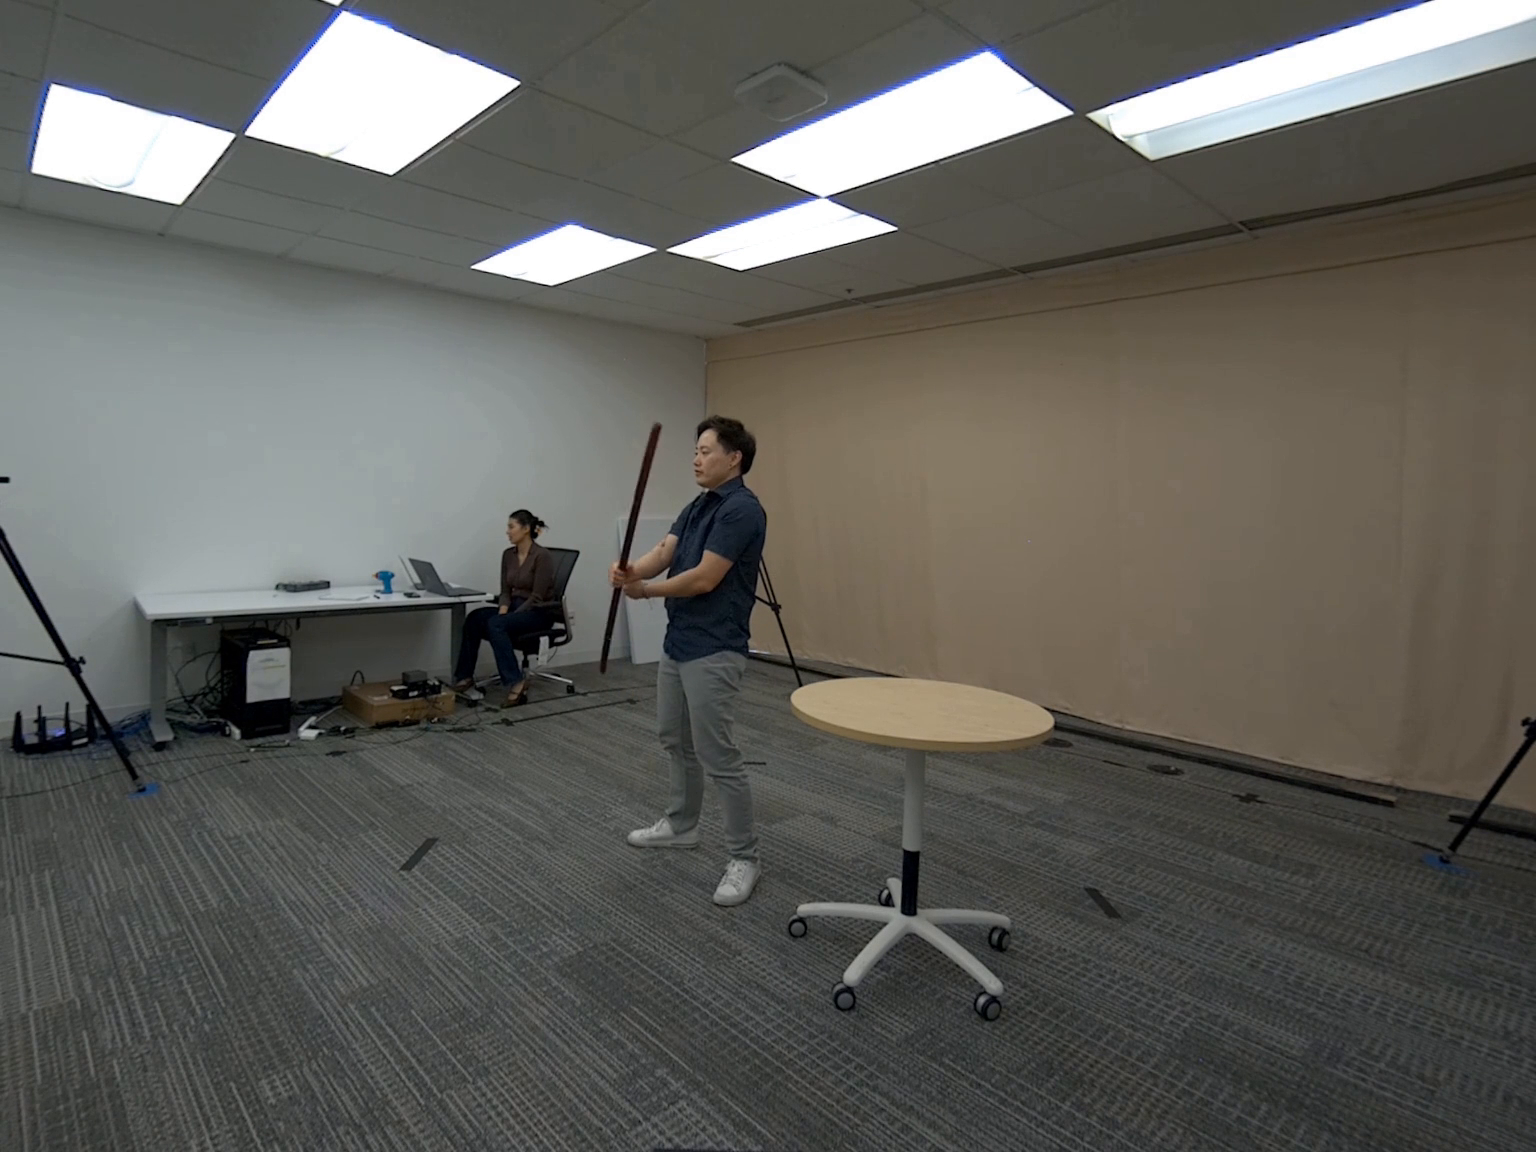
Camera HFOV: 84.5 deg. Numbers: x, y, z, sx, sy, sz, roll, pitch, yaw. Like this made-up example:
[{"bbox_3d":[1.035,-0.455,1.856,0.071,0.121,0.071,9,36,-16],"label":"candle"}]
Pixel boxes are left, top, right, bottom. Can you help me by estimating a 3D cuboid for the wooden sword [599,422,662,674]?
[{"bbox_3d":[-0.497,-0.052,2.846,0.050,1.012,0.025,-13,41,-42],"label":"wooden sword"}]
